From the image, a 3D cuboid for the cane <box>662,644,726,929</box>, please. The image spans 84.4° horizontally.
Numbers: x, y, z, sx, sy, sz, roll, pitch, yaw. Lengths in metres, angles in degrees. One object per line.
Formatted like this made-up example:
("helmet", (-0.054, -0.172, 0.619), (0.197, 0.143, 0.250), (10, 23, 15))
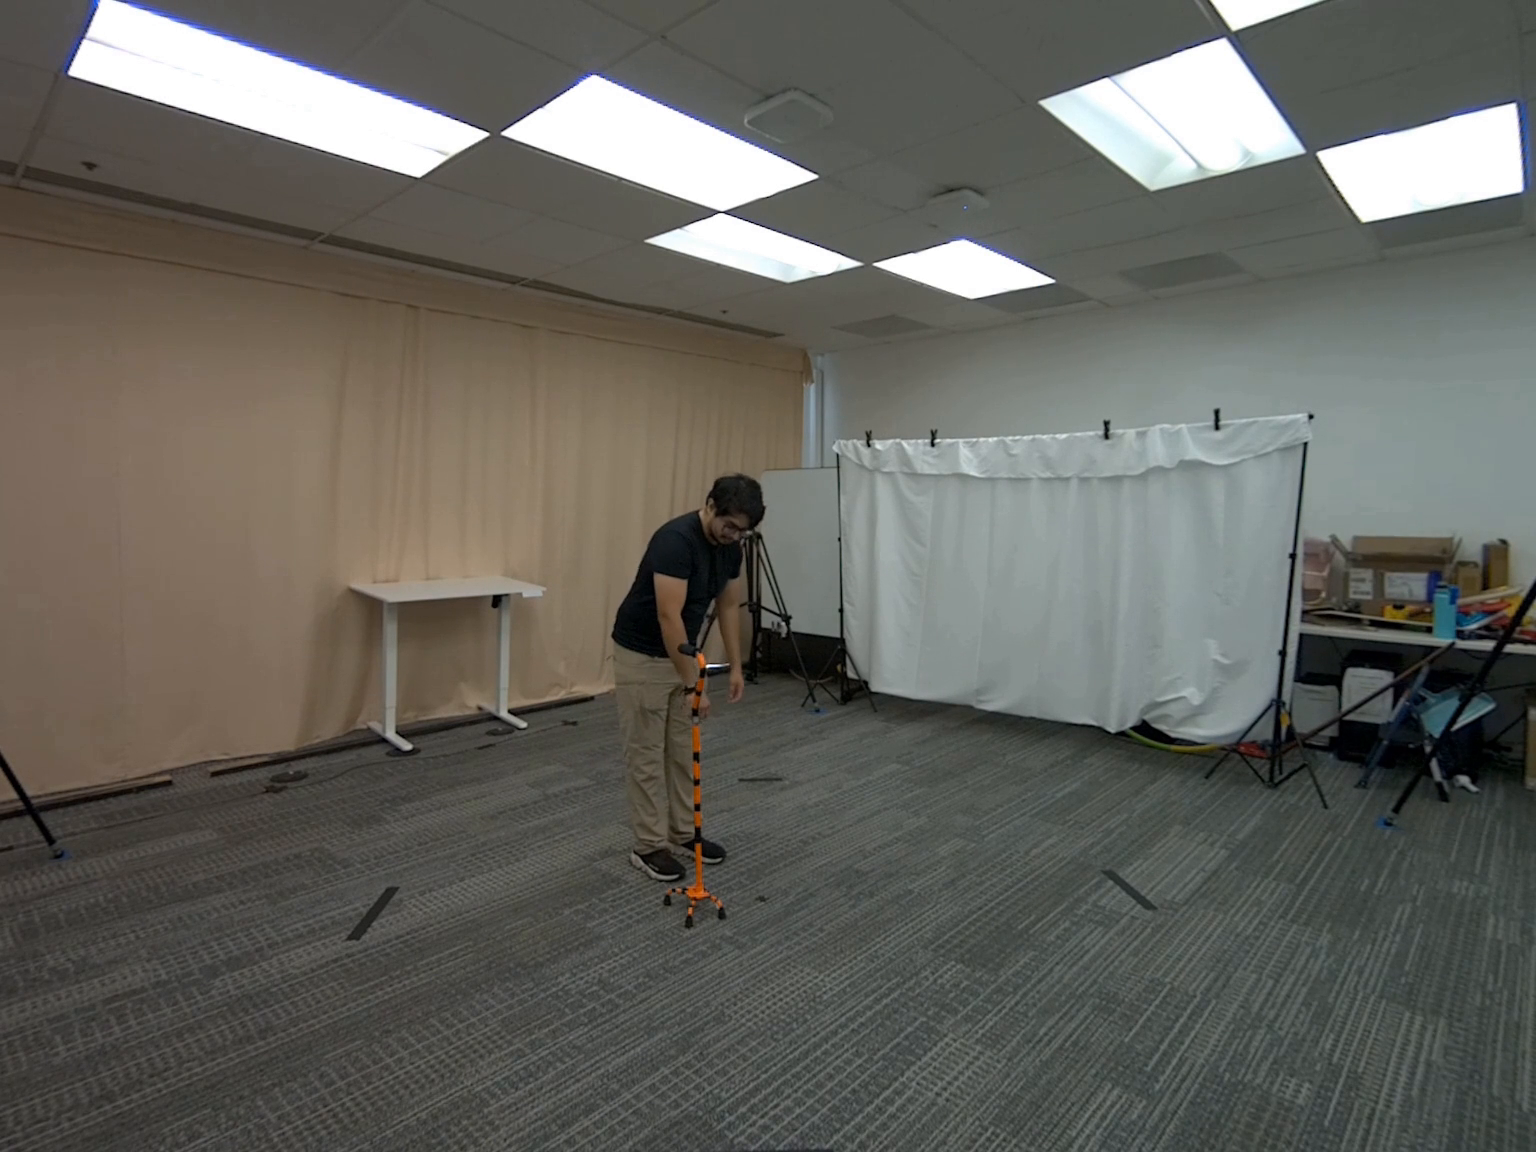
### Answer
("cane", (-0.258, 0.704, 2.883), (0.148, 0.907, 0.212), (-2, 2, -28))
